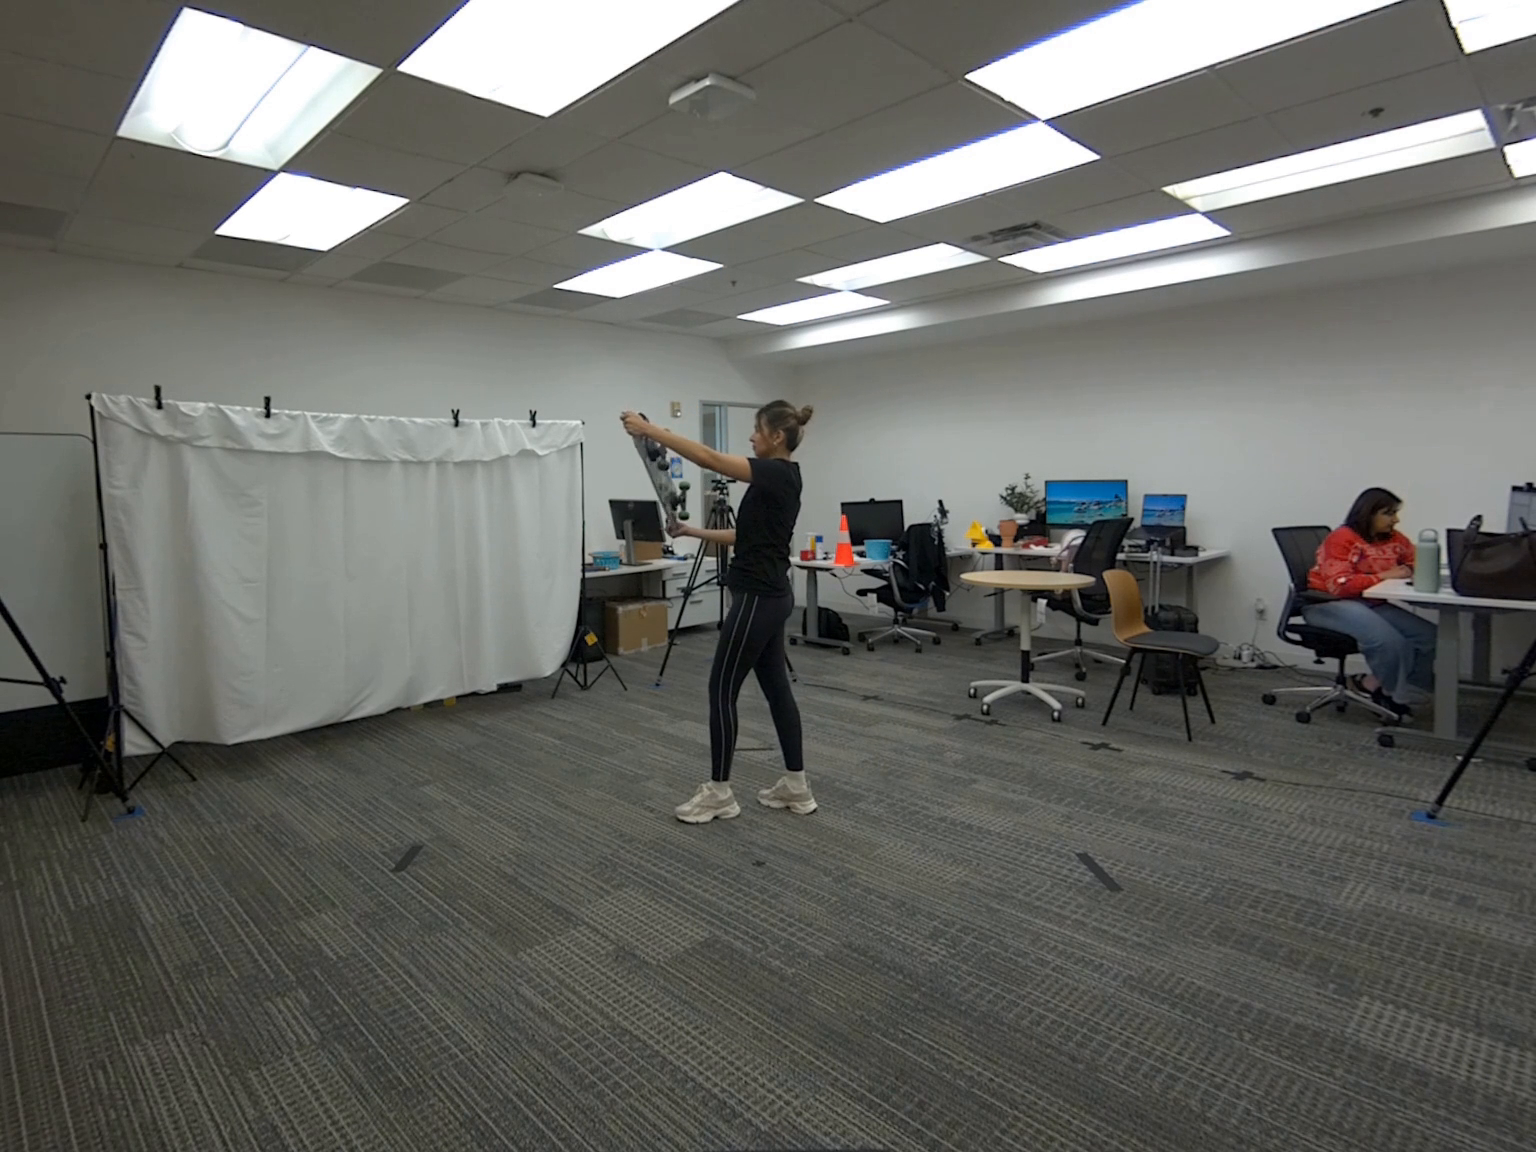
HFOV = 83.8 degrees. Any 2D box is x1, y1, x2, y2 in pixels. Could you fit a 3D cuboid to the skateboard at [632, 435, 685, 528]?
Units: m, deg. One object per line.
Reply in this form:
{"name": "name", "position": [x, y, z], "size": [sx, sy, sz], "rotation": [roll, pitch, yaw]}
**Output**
{"name": "skateboard", "position": [-0.429, -0.416, 3.585], "size": [0.111, 0.198, 0.761], "rotation": [-4, -29, 8]}
